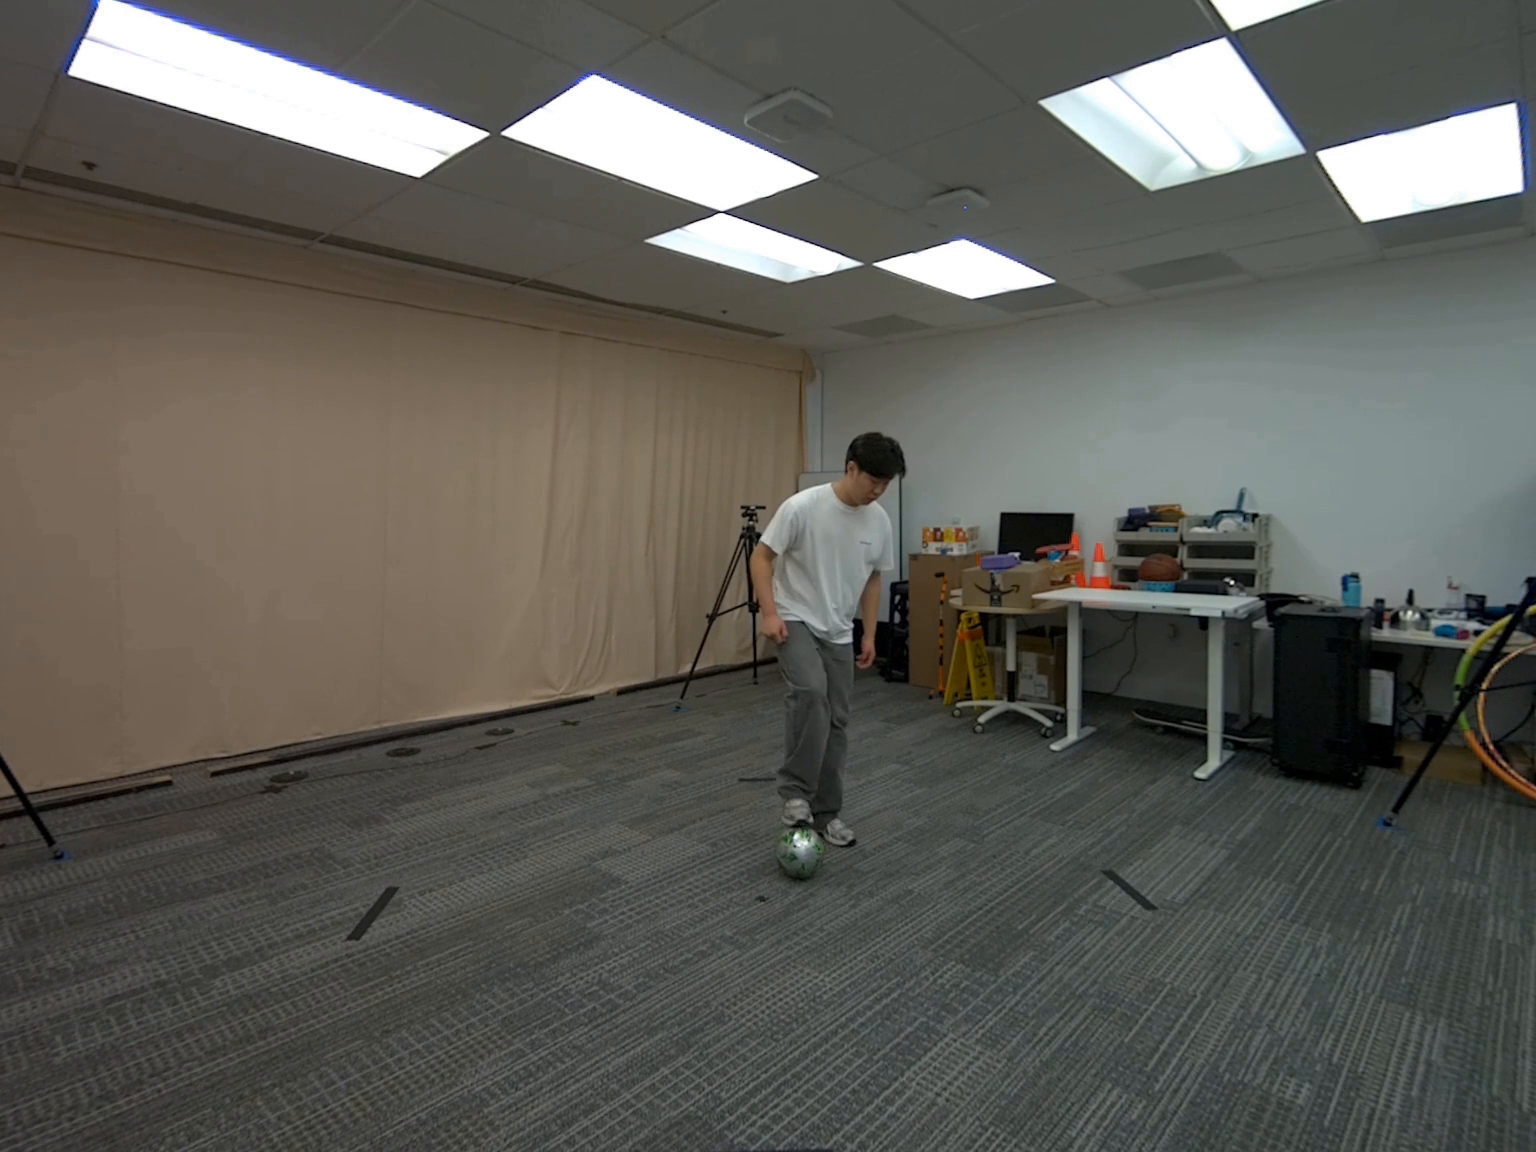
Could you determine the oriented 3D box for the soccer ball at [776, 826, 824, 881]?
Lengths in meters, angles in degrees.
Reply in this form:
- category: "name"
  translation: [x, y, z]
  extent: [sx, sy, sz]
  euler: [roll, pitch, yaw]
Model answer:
- category: "soccer ball"
  translation: [0.120, 1.034, 3.164]
  extent: [0.187, 0.187, 0.188]
  euler: [0, 4, -2]
